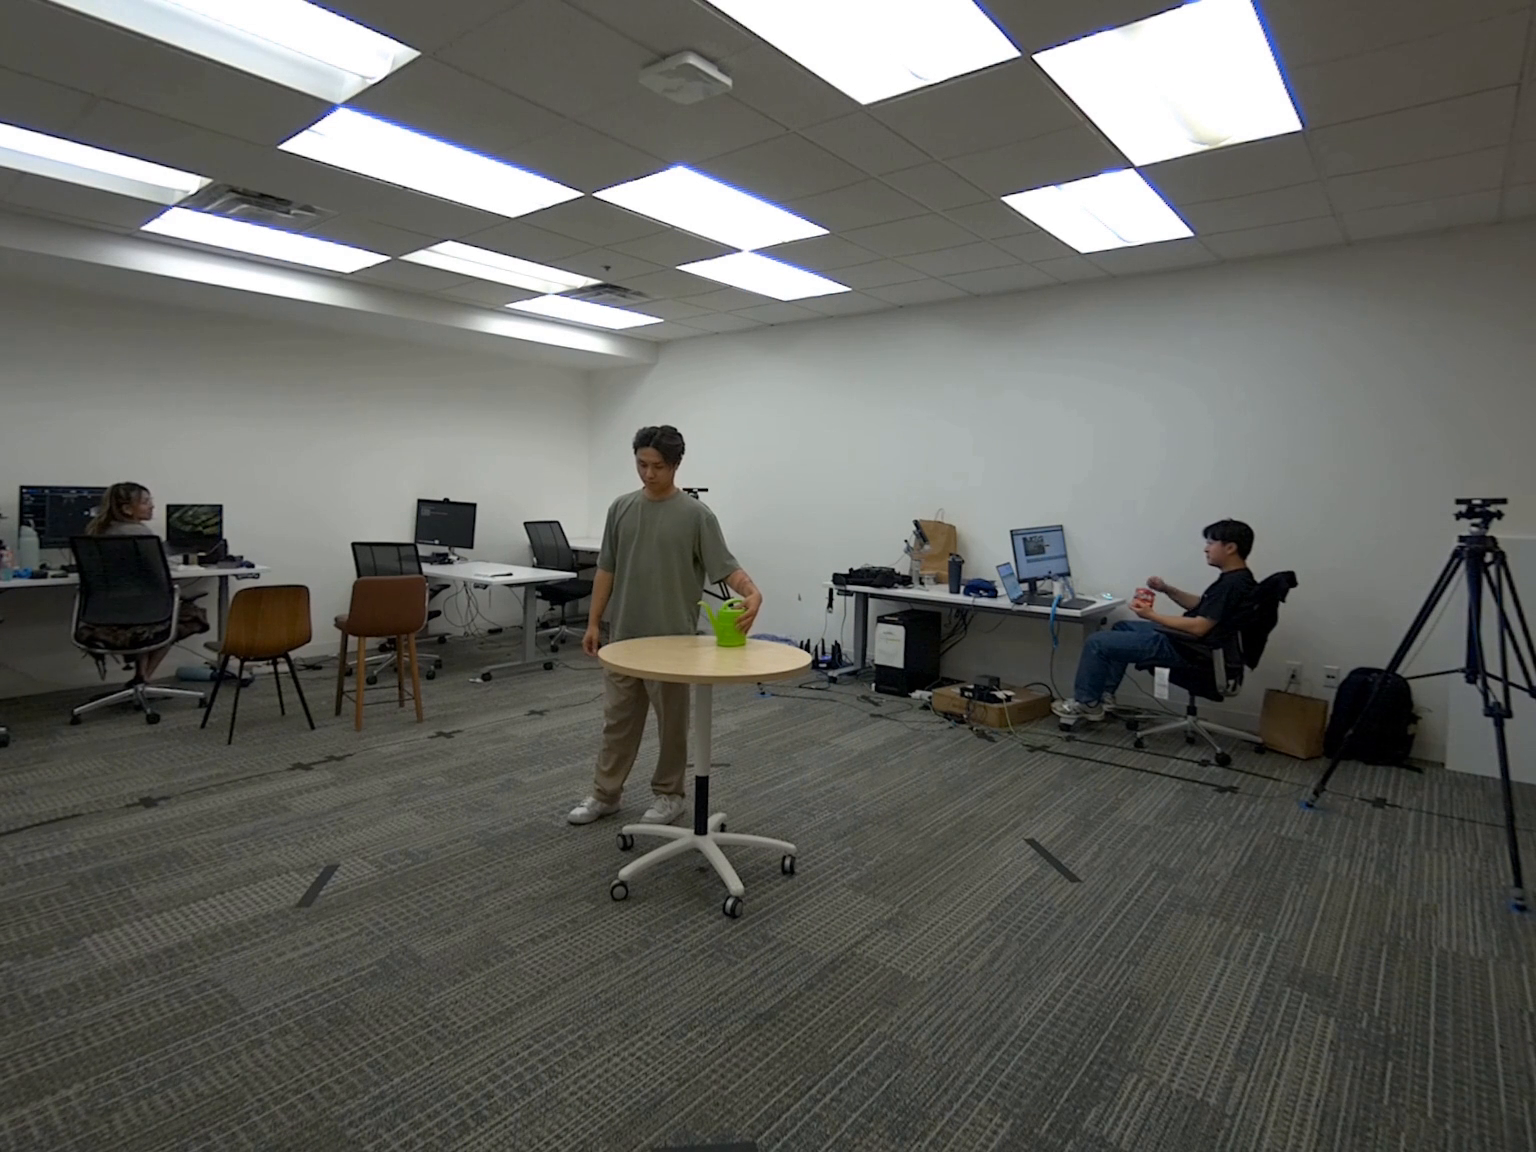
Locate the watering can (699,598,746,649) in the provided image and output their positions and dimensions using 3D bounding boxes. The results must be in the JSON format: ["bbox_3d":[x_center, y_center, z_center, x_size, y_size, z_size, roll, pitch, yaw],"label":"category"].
[{"bbox_3d":[-0.184,0.175,3.234,0.270,0.176,0.101,0,3,-33],"label":"watering can"}]
